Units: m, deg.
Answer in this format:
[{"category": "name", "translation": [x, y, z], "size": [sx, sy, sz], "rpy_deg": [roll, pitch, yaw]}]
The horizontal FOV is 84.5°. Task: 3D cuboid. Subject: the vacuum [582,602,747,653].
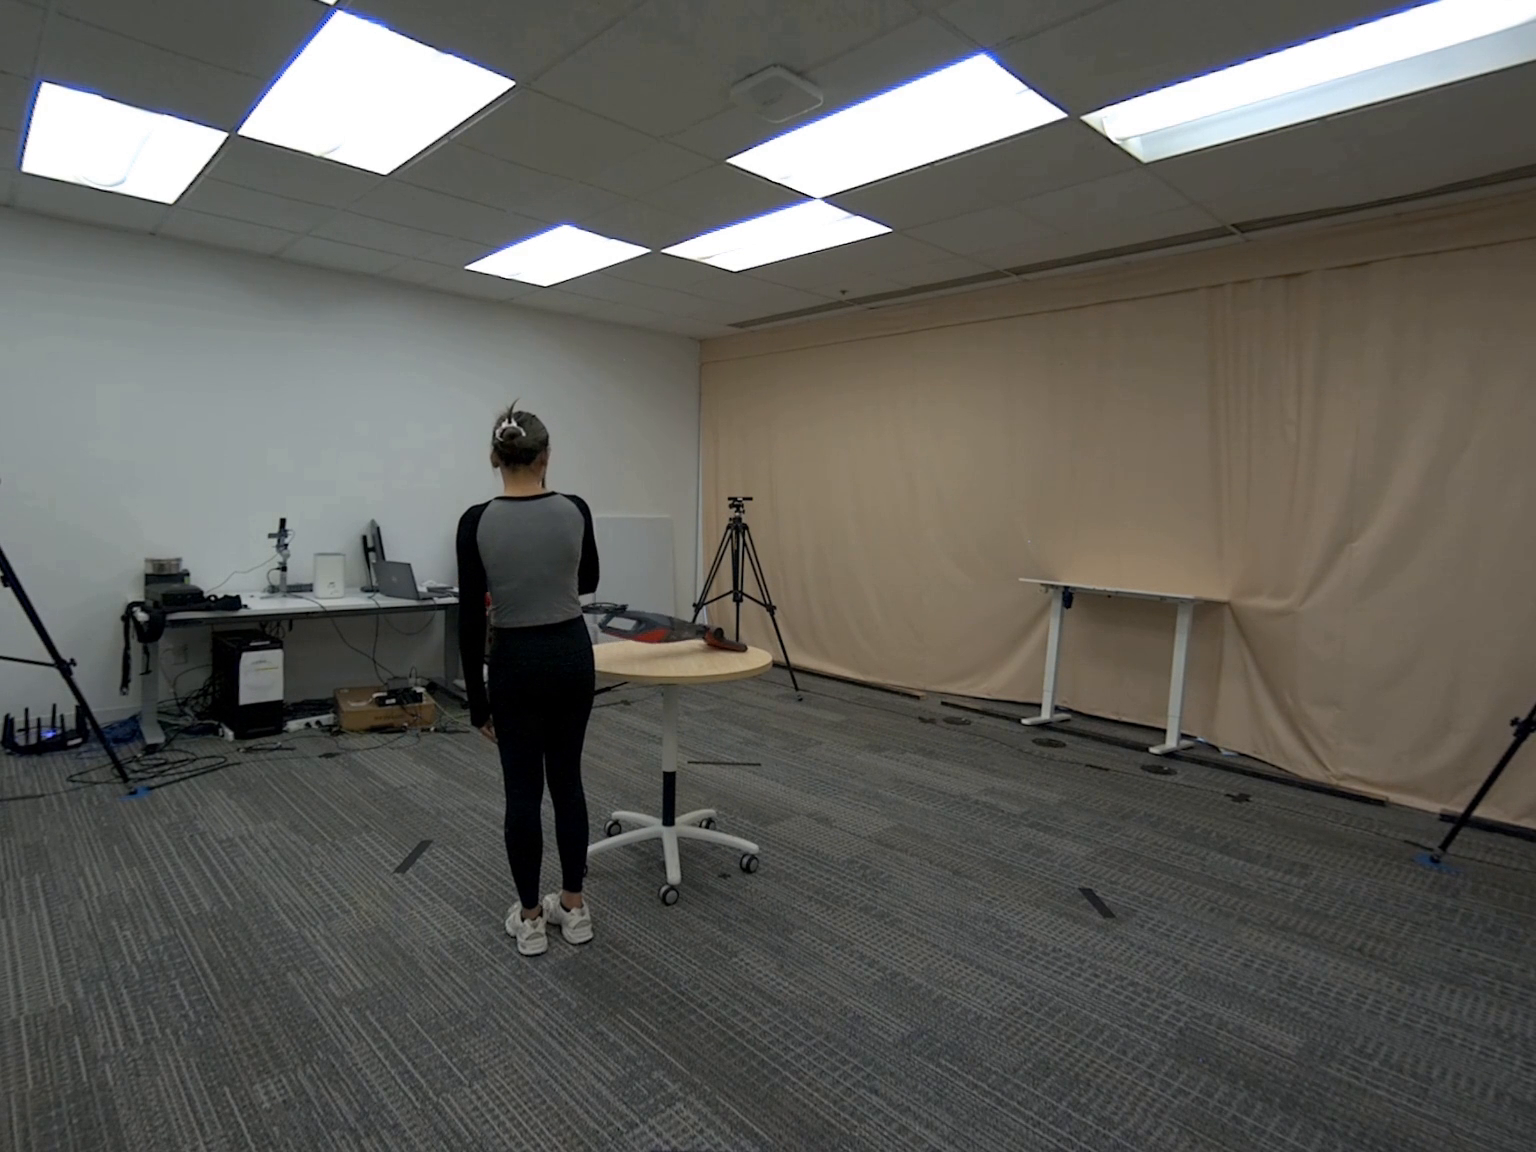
[{"category": "vacuum", "translation": [-0.552, 0.152, 3.047], "size": [1.019, 0.145, 0.258], "rpy_deg": [17, -13, -40]}]
